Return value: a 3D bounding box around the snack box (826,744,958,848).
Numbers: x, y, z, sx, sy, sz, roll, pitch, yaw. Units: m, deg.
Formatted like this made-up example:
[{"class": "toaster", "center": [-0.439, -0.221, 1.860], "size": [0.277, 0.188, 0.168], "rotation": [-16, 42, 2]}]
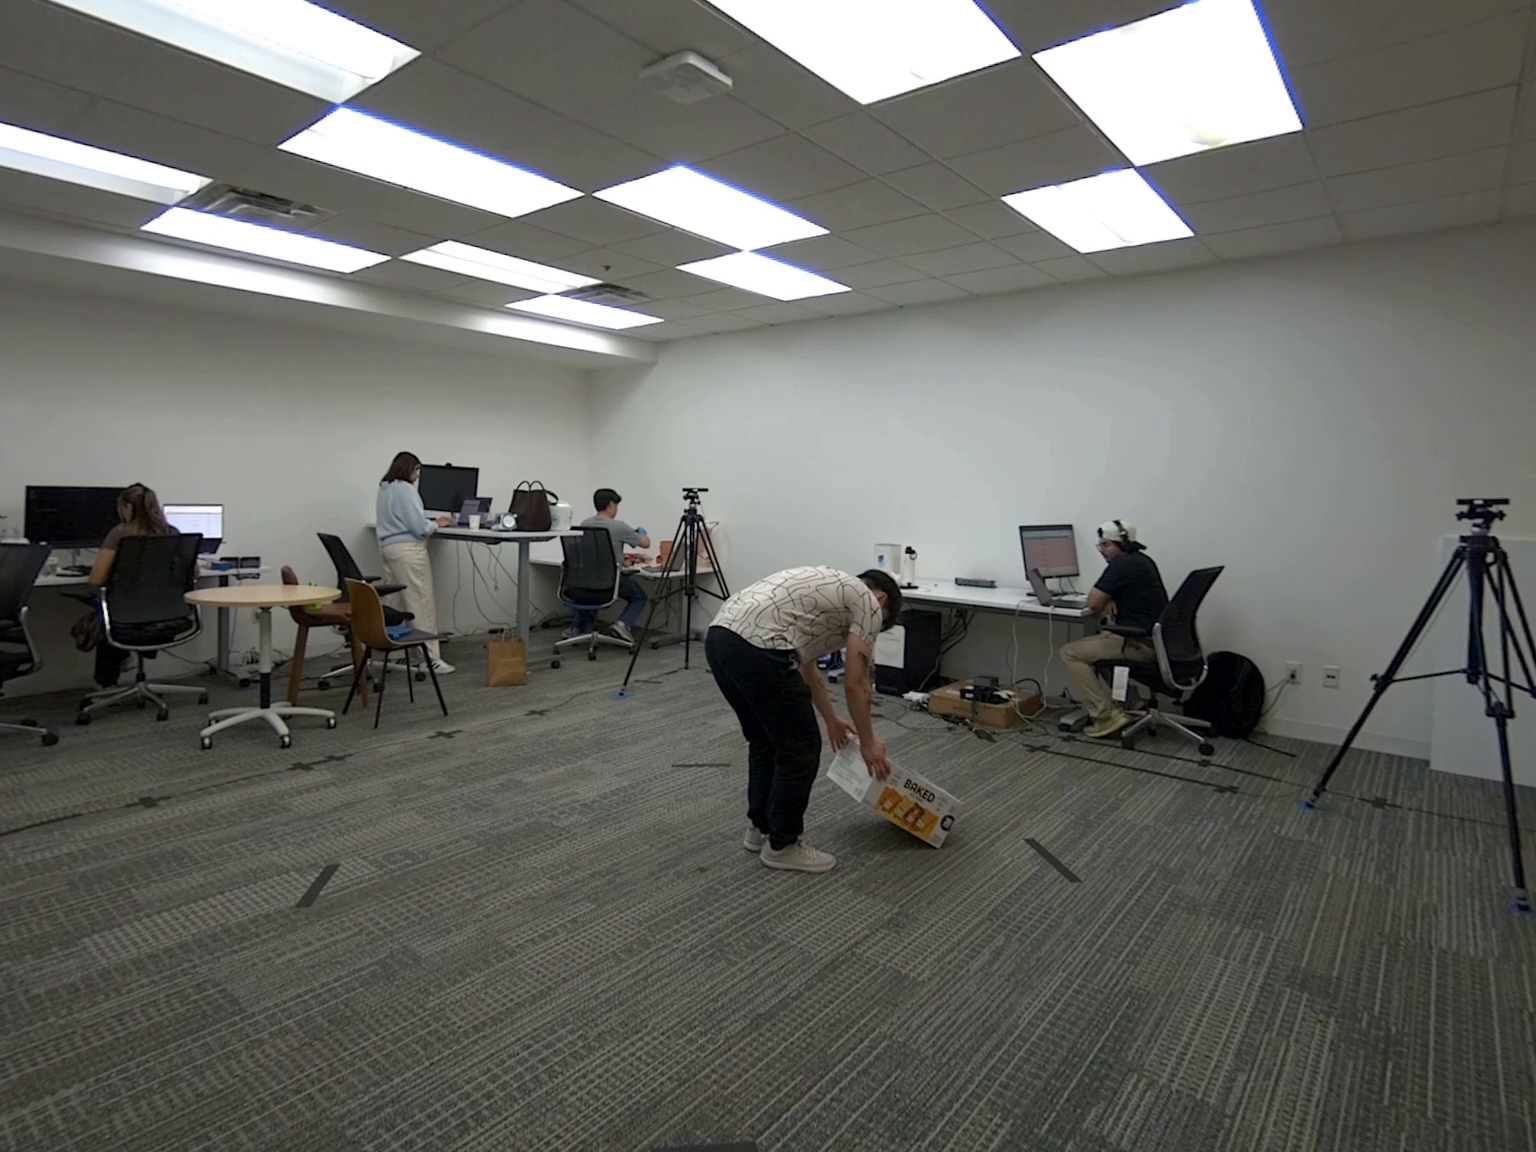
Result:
[{"class": "snack box", "center": [0.504, 0.862, 3.455], "size": [0.397, 0.206, 0.347], "rotation": [32, -5, -16]}]
